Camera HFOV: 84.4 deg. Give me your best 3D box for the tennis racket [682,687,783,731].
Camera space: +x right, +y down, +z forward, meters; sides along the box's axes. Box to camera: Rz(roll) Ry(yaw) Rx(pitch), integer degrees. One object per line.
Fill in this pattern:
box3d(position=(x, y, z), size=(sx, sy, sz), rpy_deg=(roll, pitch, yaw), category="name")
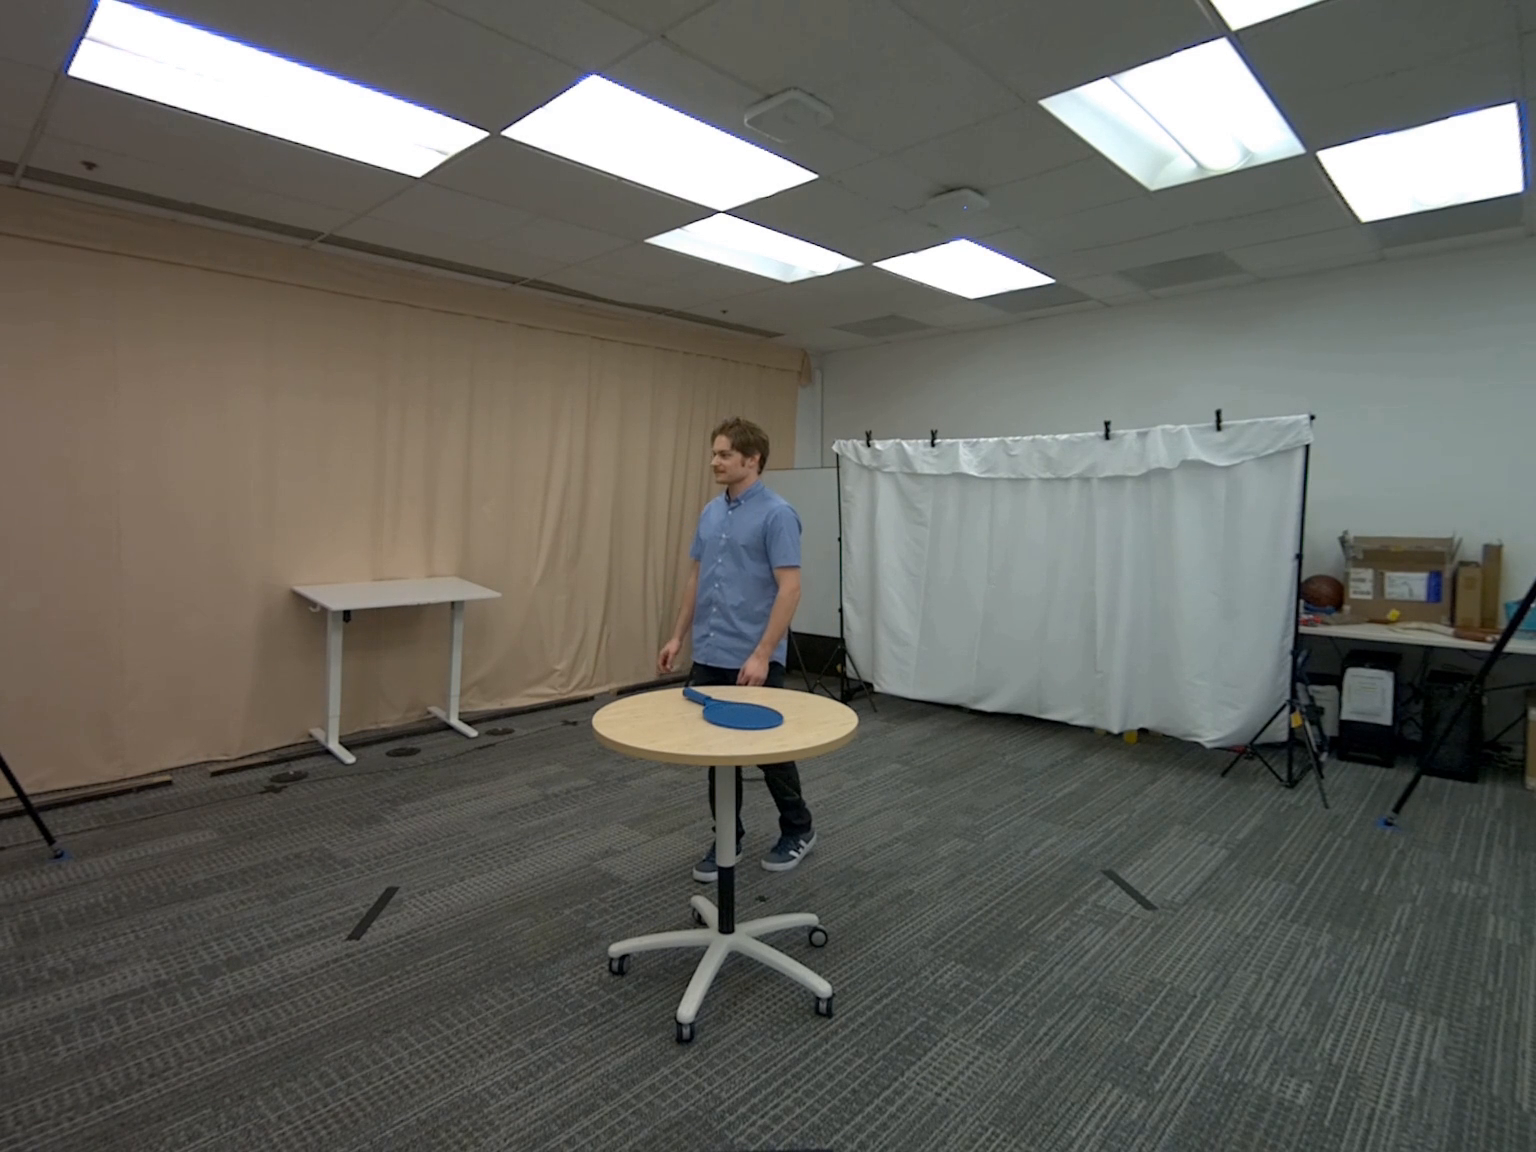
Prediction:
box3d(position=(-0.121, 0.393, 2.476), size=(0.207, 0.031, 0.447), rpy_deg=(-5, 9, -36), category="tennis racket")
